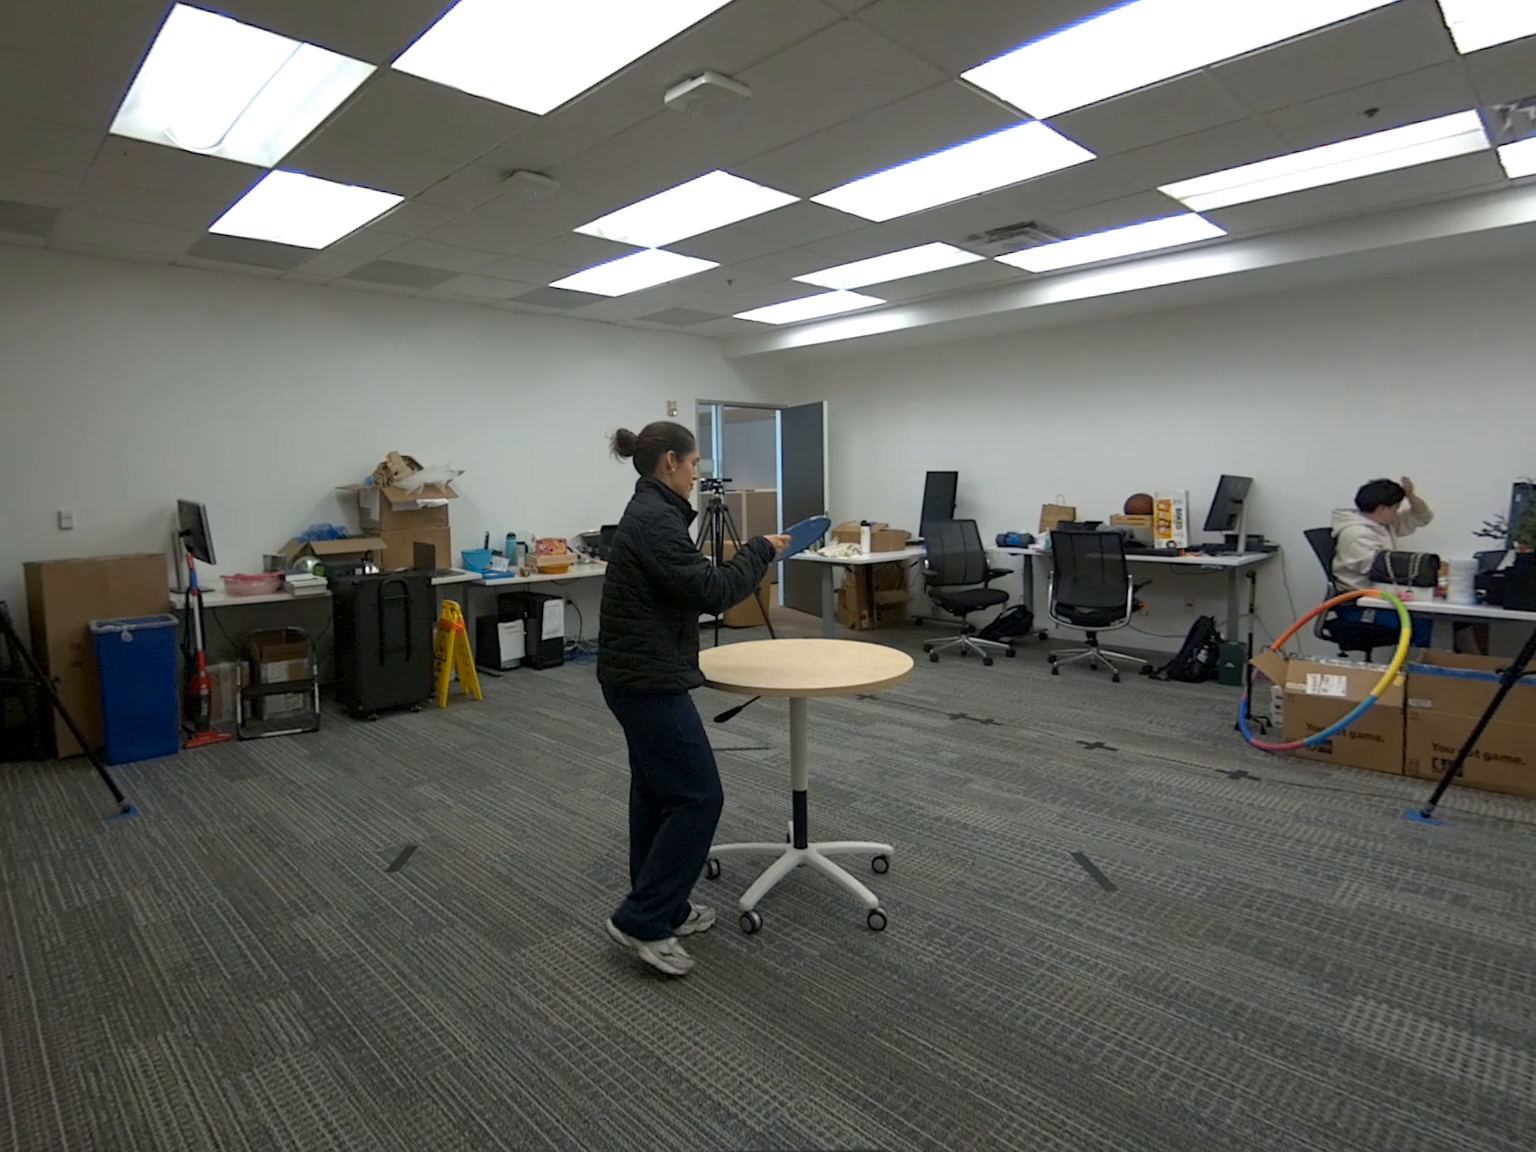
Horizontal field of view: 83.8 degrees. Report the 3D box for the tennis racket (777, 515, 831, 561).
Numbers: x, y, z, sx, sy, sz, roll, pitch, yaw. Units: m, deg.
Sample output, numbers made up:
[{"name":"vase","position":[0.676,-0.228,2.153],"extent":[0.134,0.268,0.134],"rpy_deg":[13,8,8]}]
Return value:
[{"name":"tennis racket","position":[0.029,-0.084,2.623],"extent":[0.427,0.032,0.211],"rpy_deg":[-24,-23,-27]}]
